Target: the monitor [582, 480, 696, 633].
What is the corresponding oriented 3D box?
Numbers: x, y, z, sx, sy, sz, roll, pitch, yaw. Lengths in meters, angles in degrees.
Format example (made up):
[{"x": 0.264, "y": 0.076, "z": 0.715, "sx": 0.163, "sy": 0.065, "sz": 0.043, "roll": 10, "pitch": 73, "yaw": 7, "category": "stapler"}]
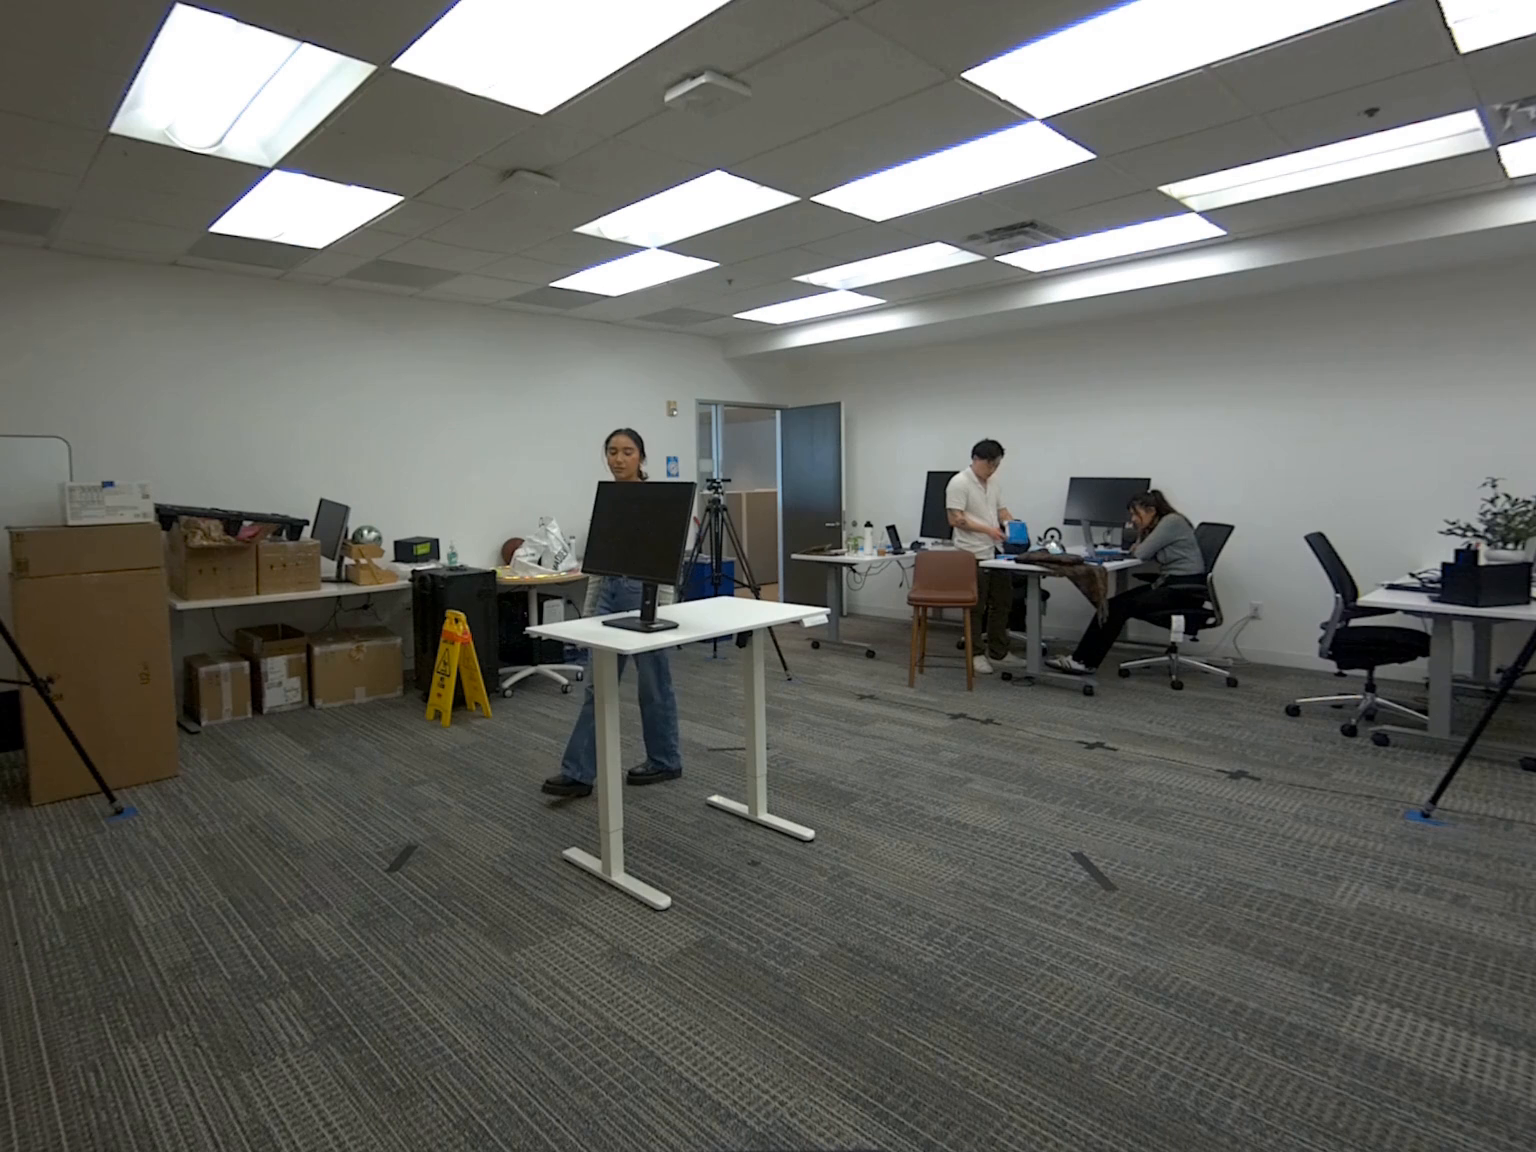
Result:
[{"x": -0.445, "y": -0.072, "z": 3.034, "sx": 0.556, "sy": 0.521, "sz": 0.182, "roll": 5, "pitch": 5, "yaw": 42, "category": "monitor"}]
